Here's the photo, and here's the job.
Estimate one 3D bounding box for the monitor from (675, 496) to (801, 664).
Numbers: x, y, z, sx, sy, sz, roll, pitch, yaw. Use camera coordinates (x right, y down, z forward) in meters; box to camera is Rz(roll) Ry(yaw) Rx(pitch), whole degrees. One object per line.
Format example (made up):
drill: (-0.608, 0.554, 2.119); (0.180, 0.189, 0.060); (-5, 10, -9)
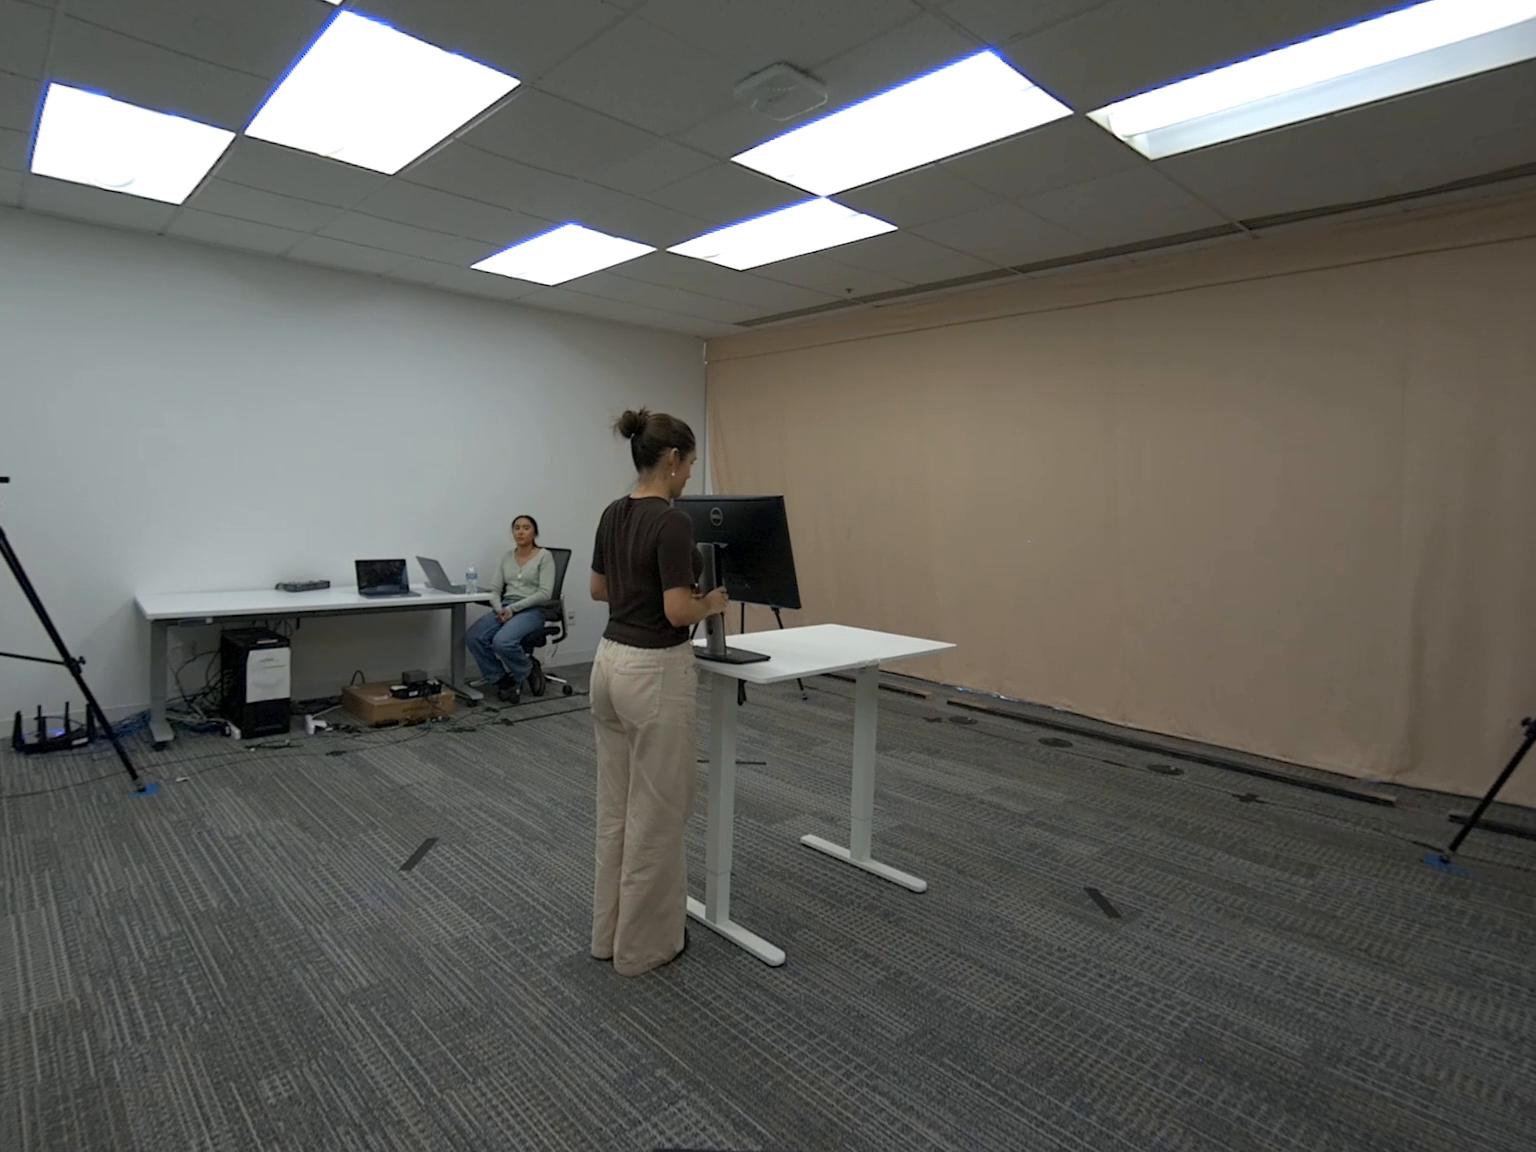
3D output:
monitor: (-0.138, 0.003, 2.662); (0.543, 0.516, 0.170); (3, 0, 45)
